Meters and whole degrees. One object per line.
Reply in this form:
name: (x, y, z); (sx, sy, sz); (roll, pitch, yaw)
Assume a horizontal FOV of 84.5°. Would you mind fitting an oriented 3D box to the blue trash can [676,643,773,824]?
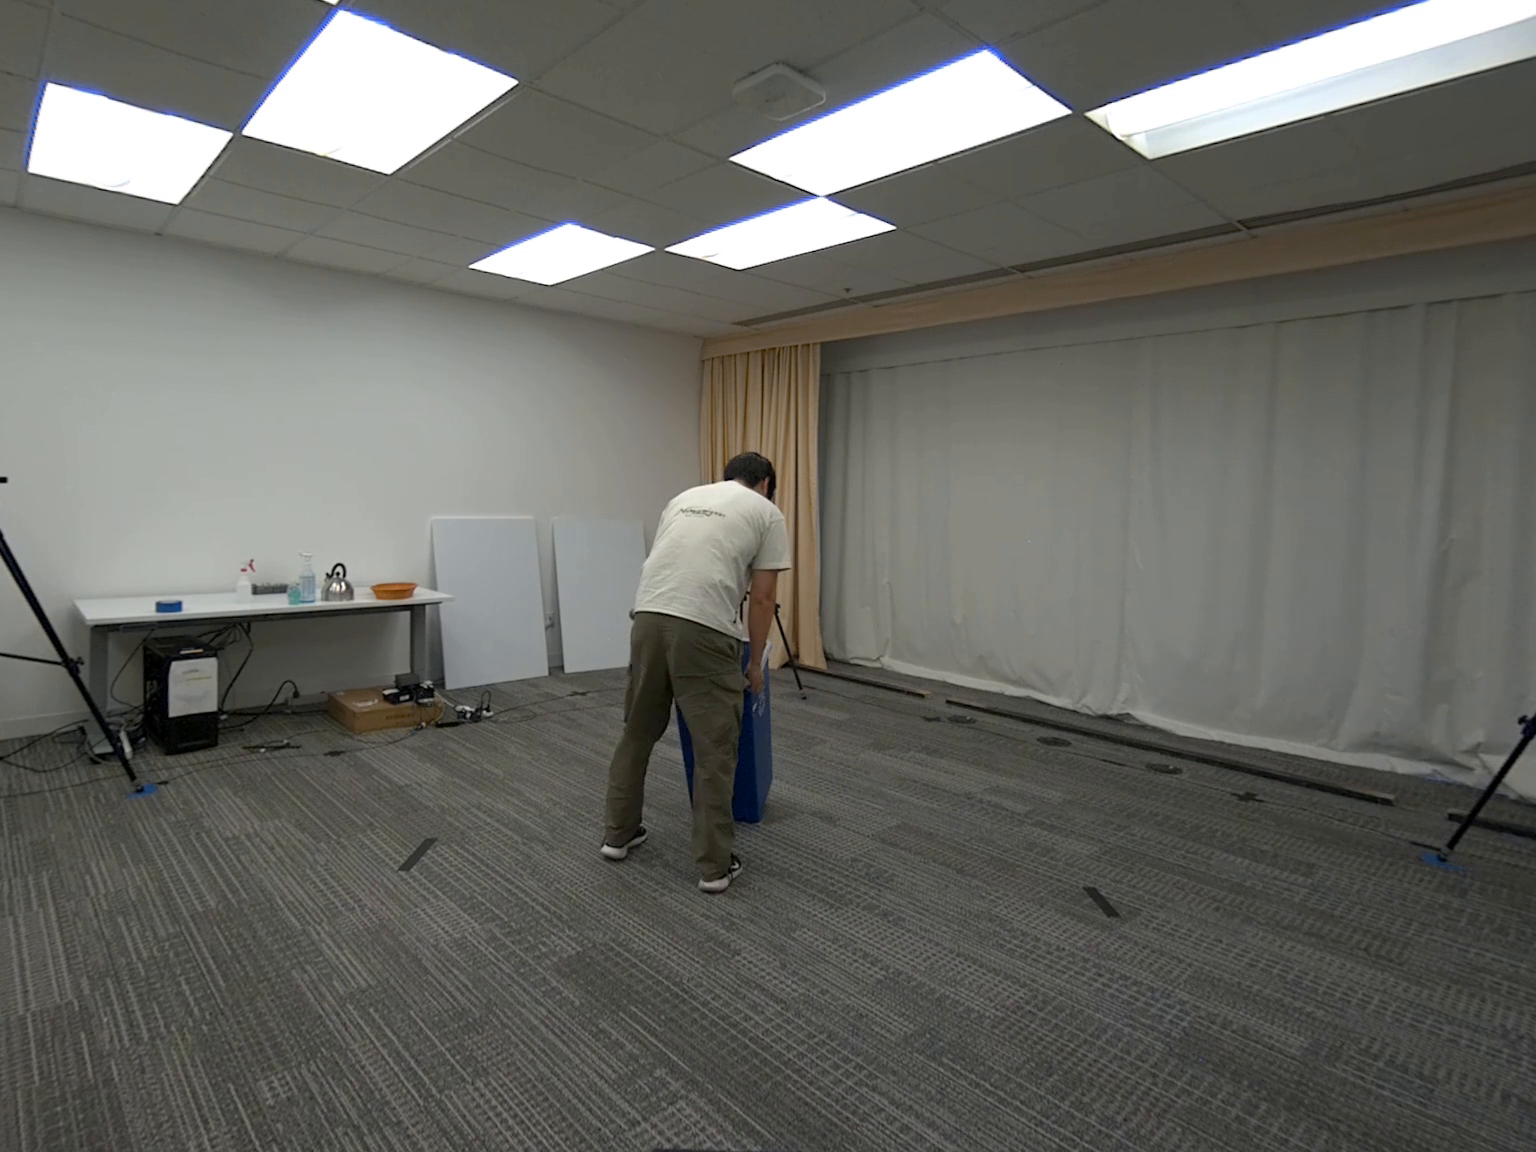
blue trash can: (-0.177, 0.670, 3.631); (0.382, 0.701, 0.376); (2, 25, 14)
